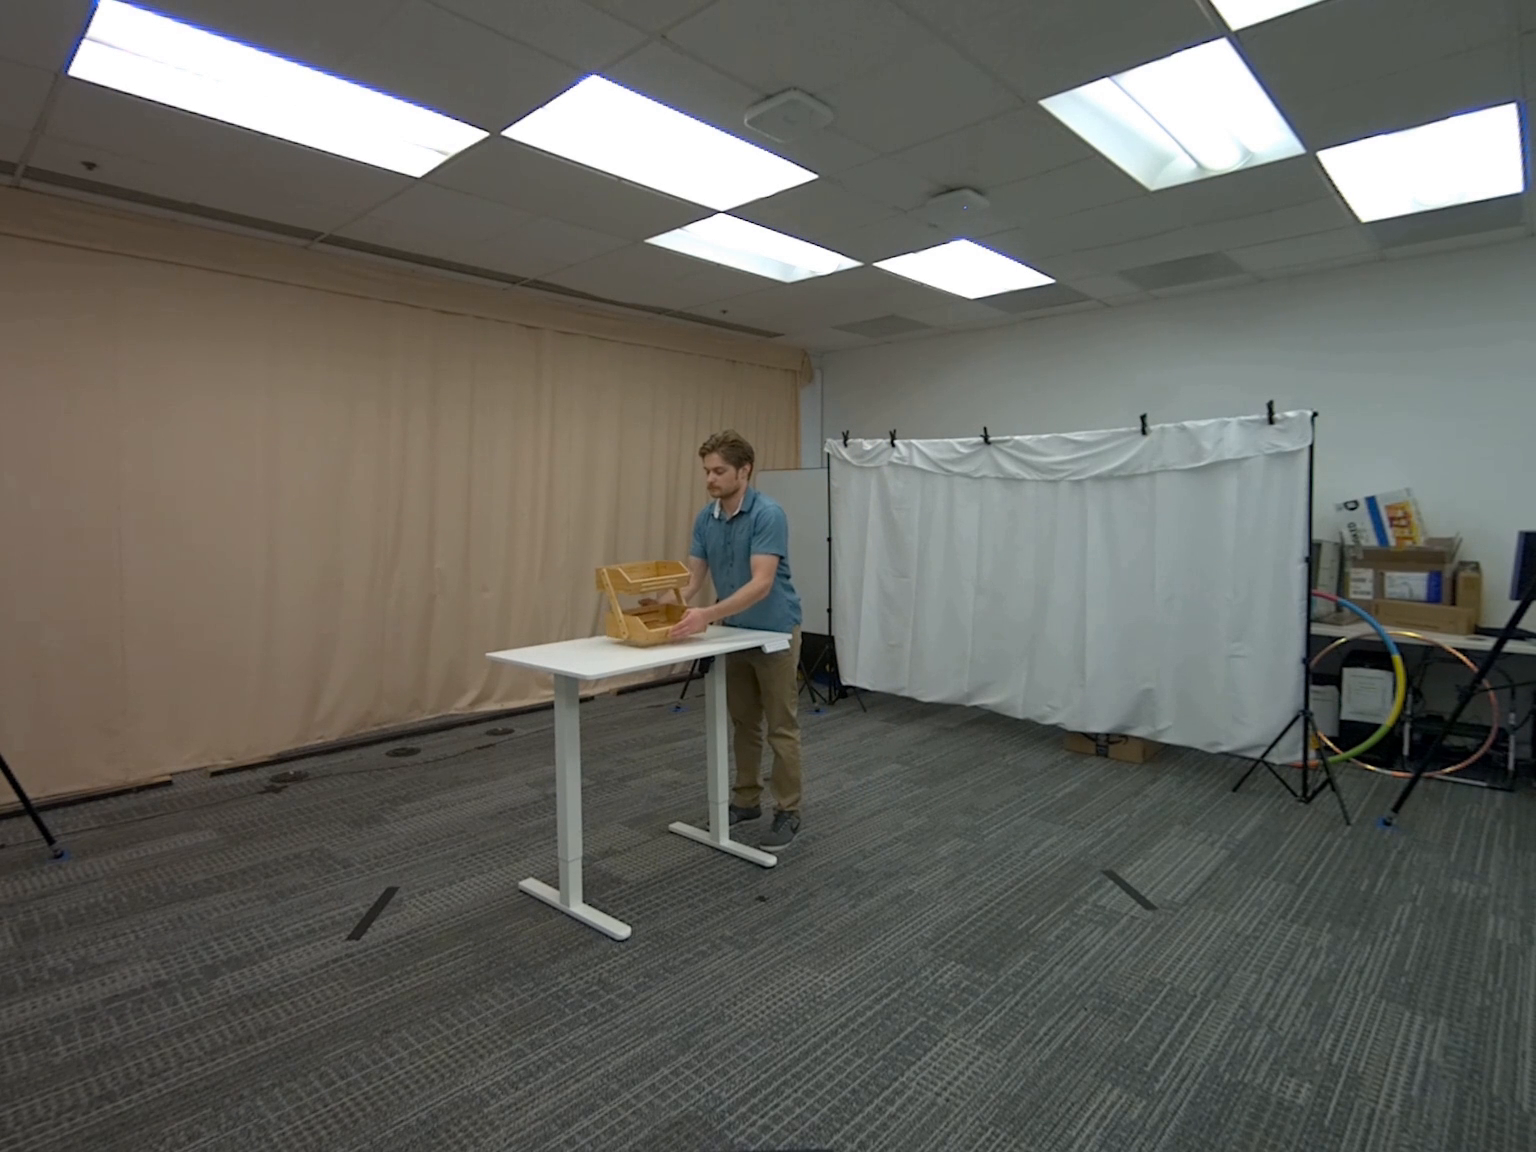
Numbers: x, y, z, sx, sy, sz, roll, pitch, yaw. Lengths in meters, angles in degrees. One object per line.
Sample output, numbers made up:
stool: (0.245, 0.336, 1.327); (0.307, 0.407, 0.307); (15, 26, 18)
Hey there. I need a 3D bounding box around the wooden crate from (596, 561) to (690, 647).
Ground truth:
wooden crate: (-0.438, 0.087, 3.178); (0.312, 0.272, 0.315); (3, 7, 45)
